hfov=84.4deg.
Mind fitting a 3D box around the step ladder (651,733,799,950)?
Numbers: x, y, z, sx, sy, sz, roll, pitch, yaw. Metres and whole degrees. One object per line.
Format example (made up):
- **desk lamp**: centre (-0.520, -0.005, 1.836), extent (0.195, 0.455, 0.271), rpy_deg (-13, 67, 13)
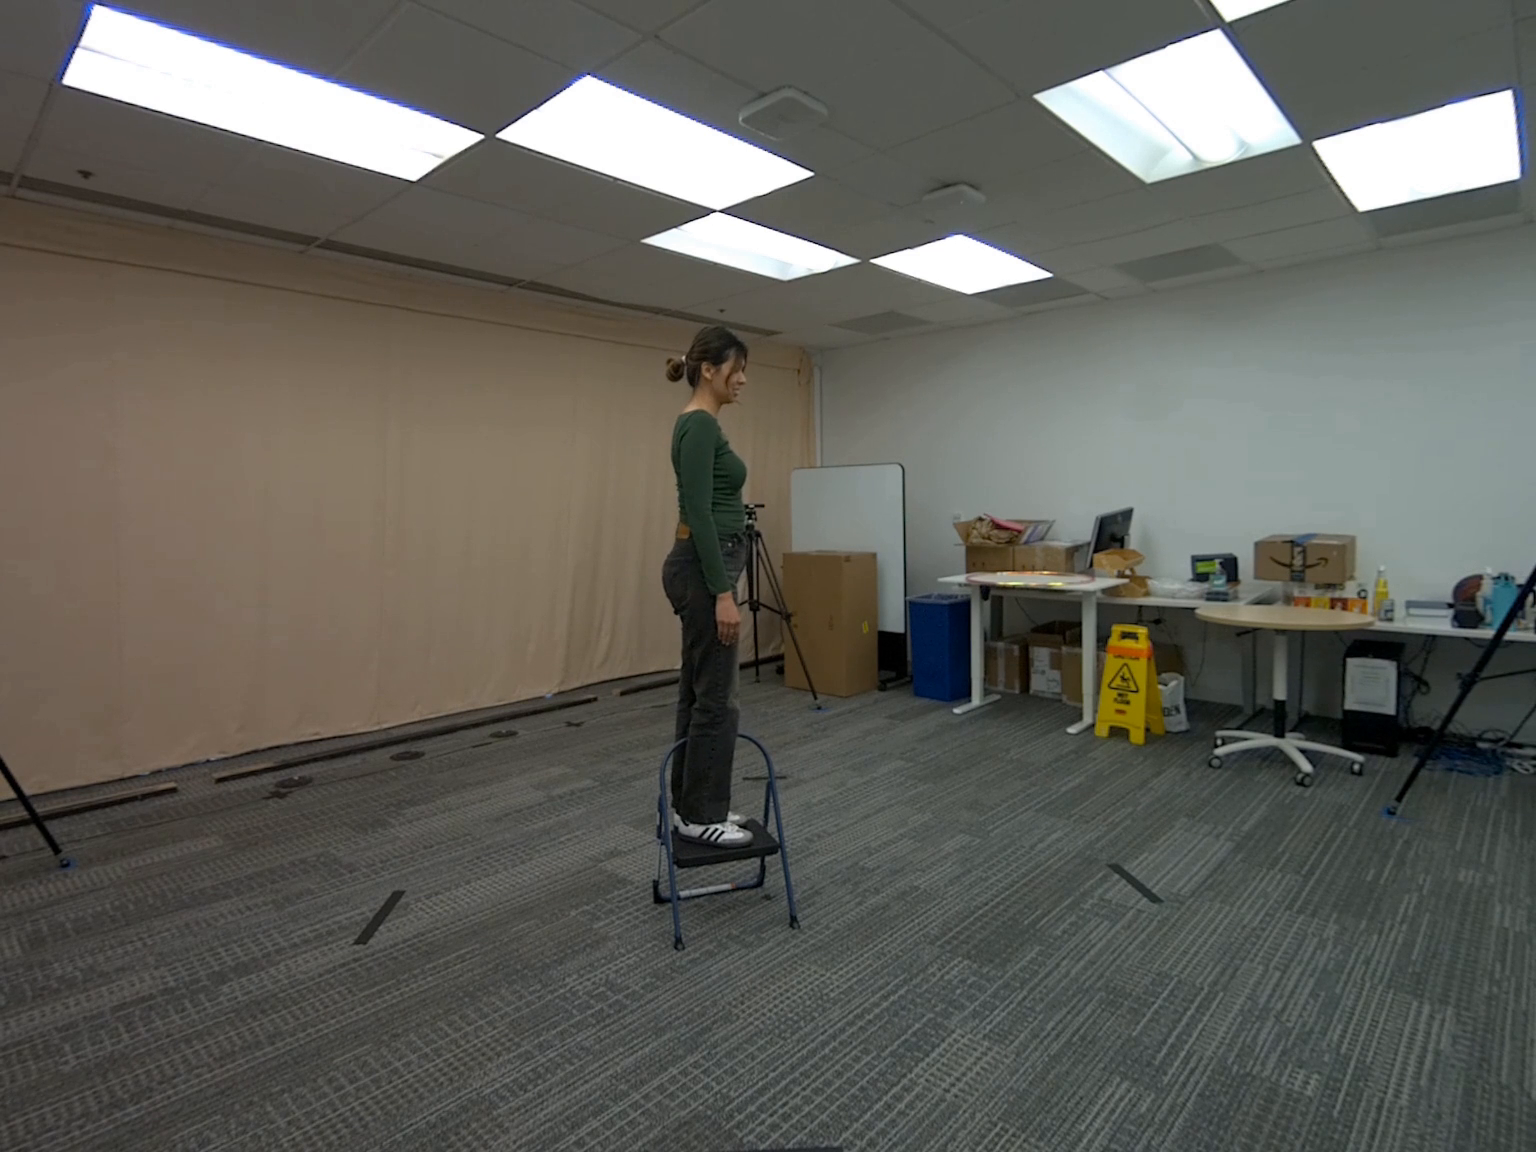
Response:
- **step ladder**: centre (-0.150, 0.852, 2.856), extent (0.422, 0.605, 0.357), rpy_deg (-2, 3, -20)
